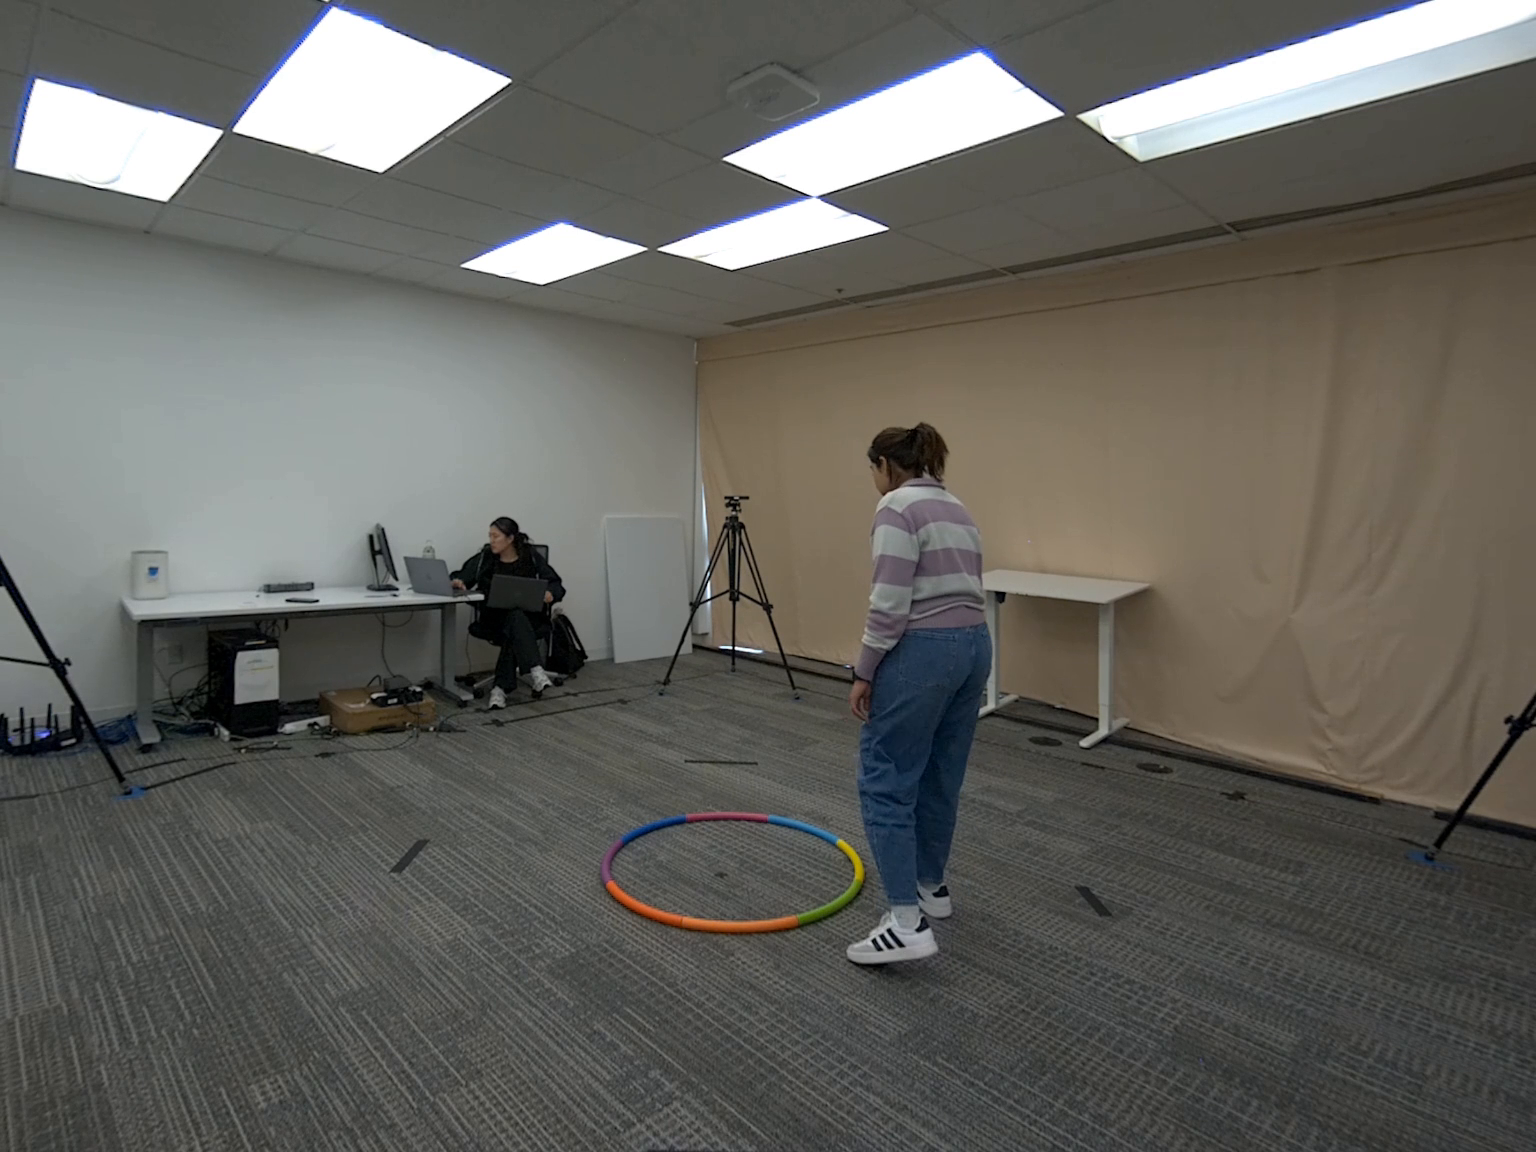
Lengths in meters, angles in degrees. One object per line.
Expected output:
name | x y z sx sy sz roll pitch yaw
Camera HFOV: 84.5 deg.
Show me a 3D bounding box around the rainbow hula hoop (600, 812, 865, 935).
rainbow hula hoop | -0.136 1.068 3.169 0.978 0.035 0.982 1 5 -1
